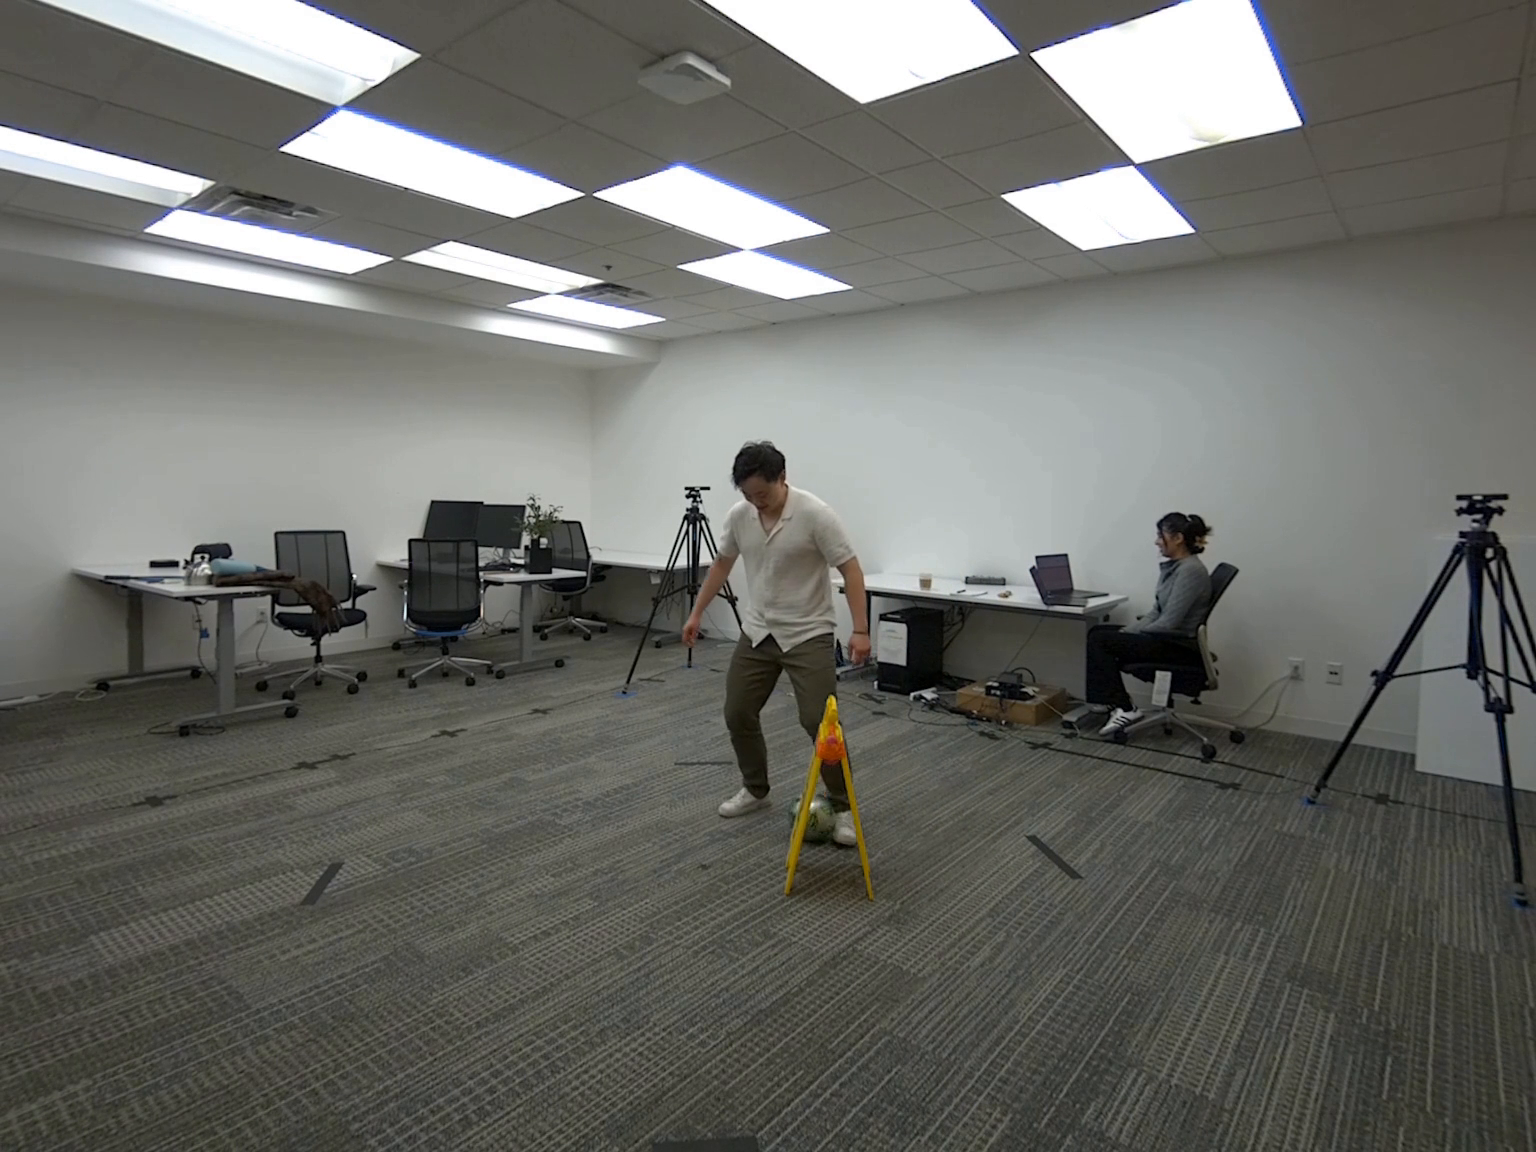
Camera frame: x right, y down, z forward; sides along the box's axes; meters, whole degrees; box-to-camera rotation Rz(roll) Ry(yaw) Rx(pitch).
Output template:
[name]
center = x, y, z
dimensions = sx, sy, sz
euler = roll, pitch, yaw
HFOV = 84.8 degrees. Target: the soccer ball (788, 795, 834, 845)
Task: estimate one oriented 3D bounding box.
[soccer ball]
center = 0.133, 0.951, 3.381
dimensions = 0.187, 0.187, 0.188
euler = 0, 4, -2
